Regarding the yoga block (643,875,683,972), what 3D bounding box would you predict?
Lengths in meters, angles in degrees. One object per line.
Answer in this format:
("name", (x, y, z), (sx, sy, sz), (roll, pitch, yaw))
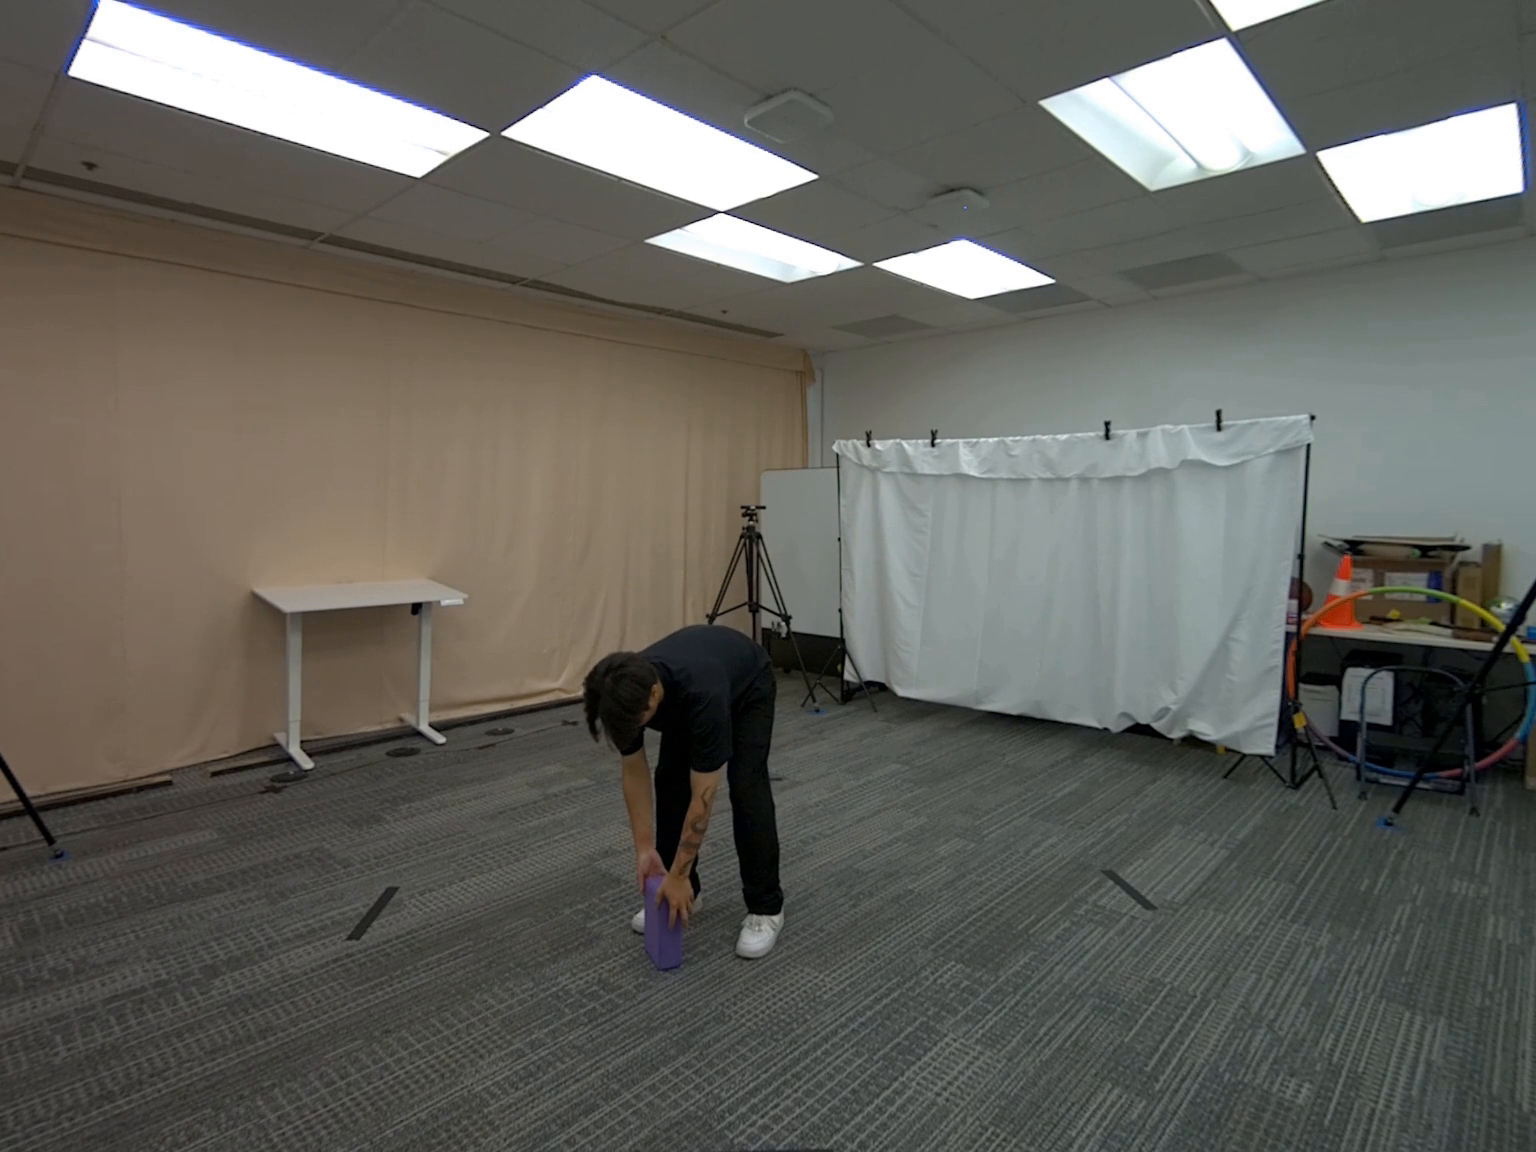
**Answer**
("yoga block", (-0.321, 1.055, 2.592), (0.075, 0.229, 0.152), (-3, 5, -21))
